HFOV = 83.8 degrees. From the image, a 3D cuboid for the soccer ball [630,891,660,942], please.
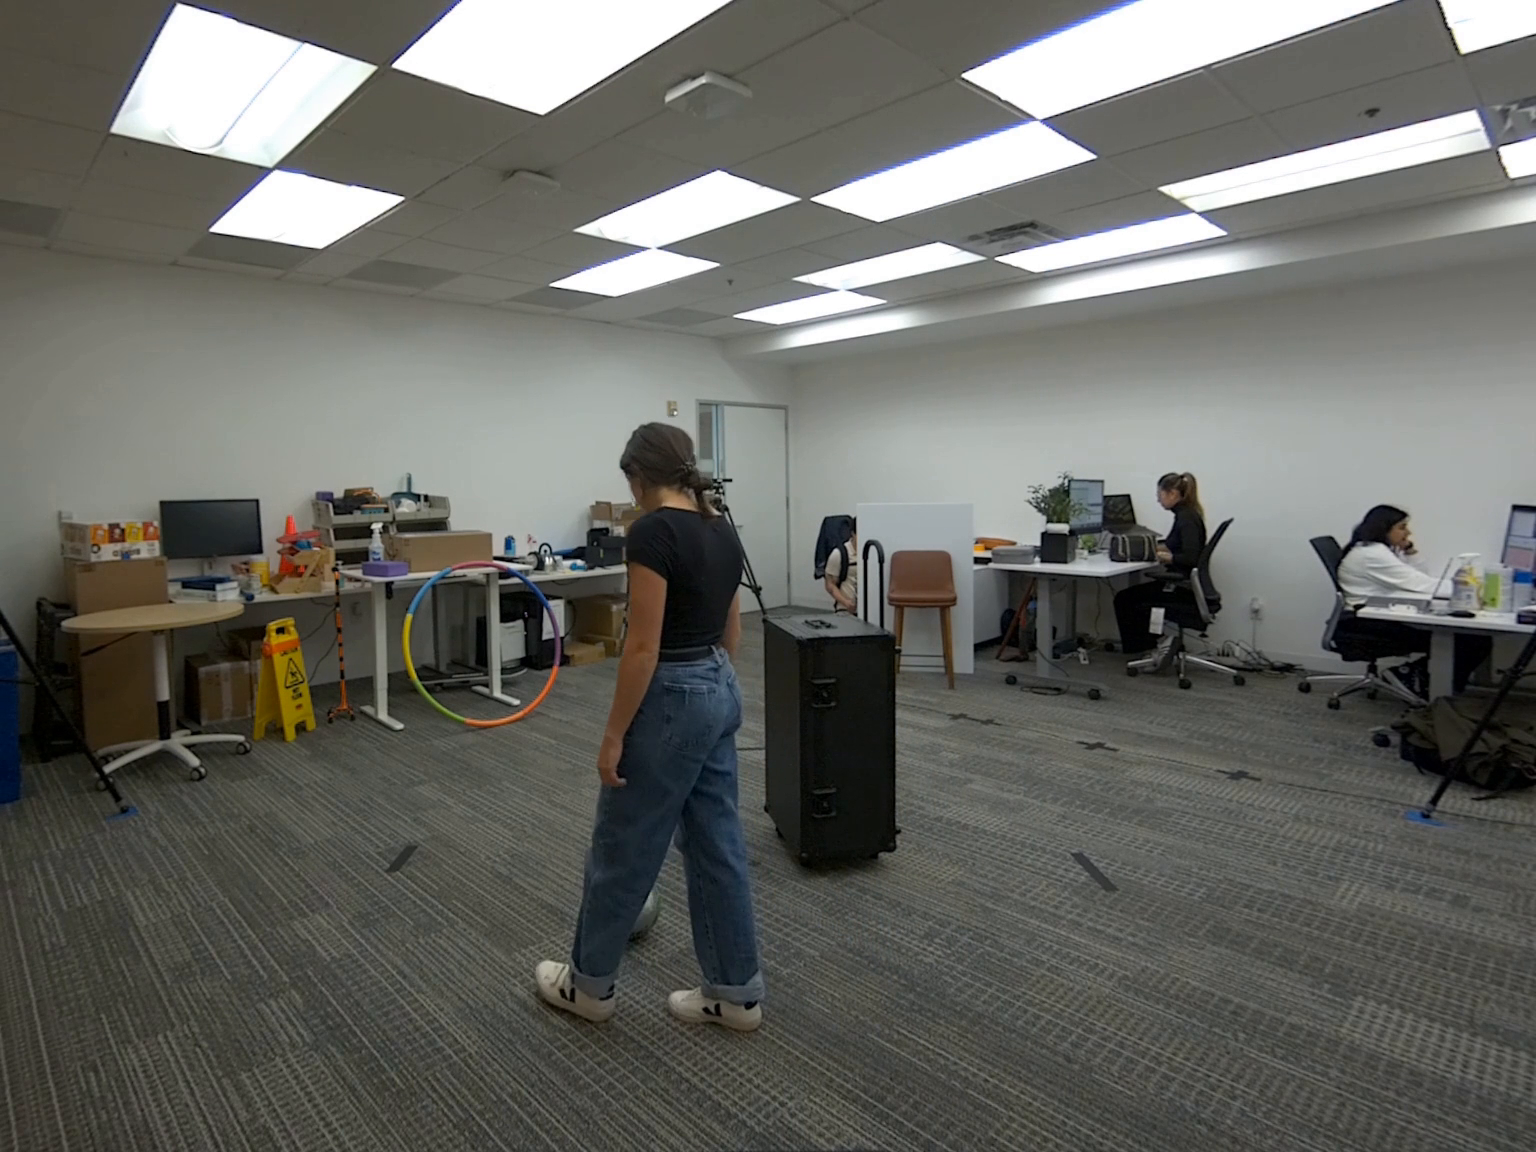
[{"bbox_3d":[-0.416,1.018,2.635,0.187,0.187,0.188,-1,5,-2],"label":"soccer ball"}]
